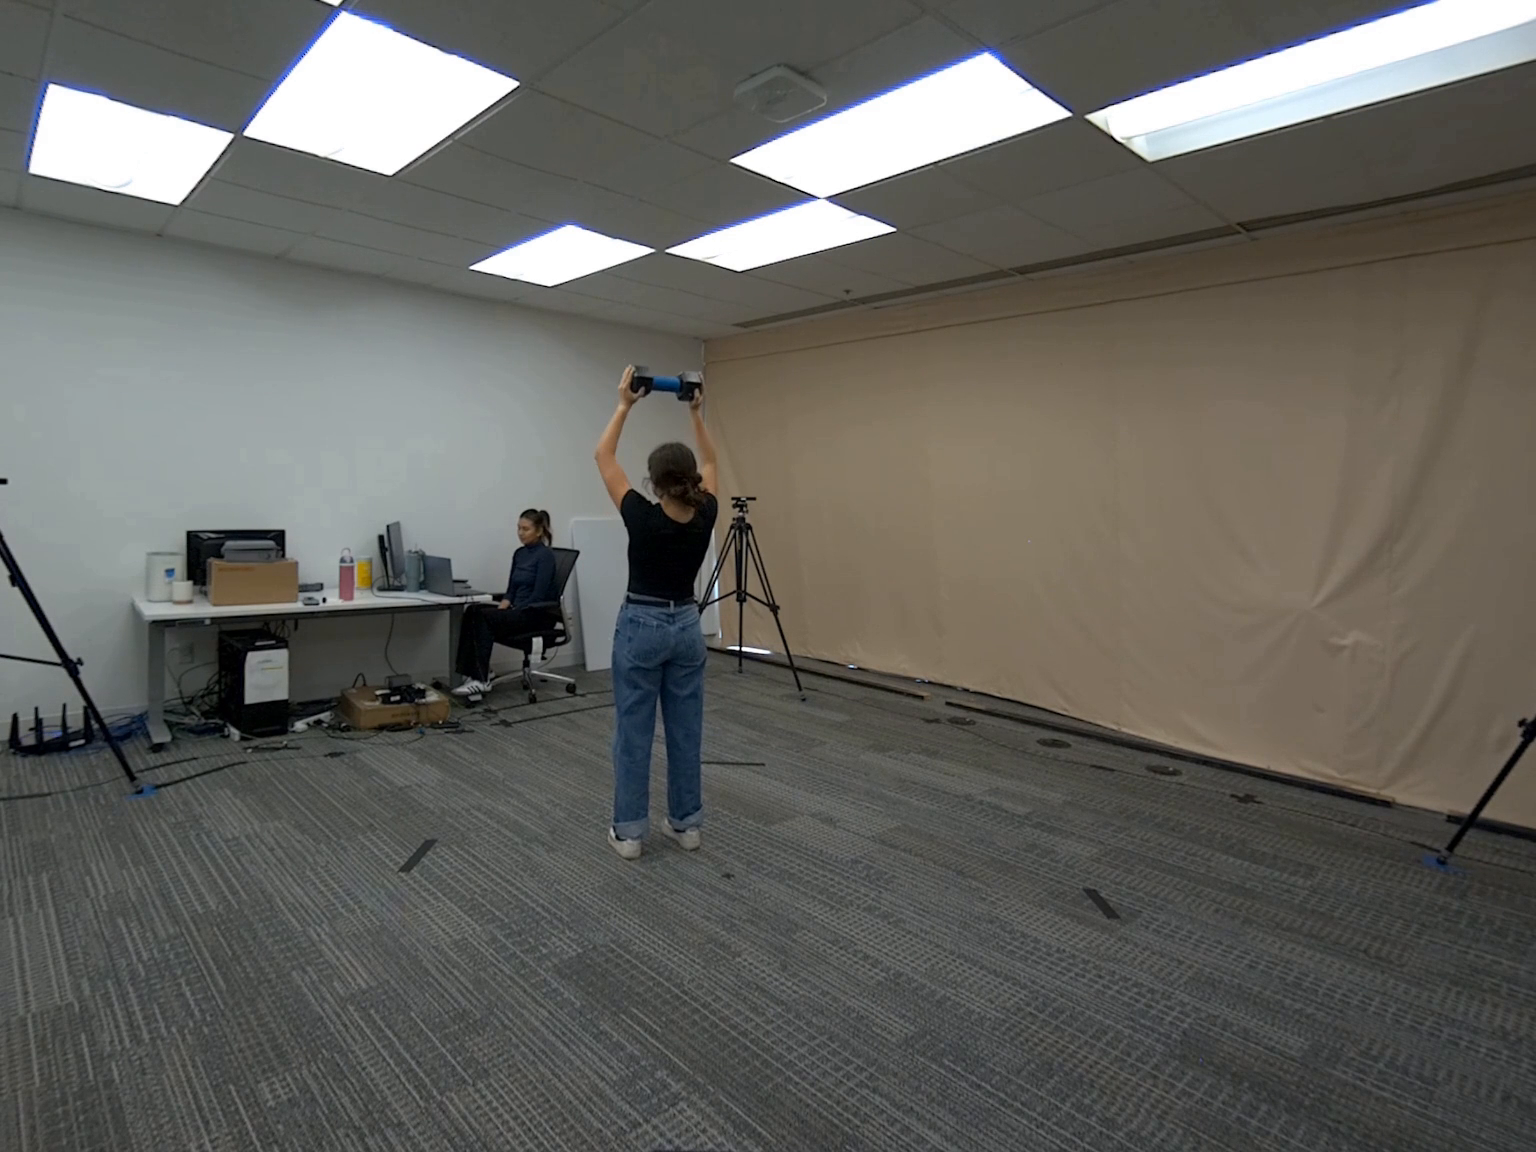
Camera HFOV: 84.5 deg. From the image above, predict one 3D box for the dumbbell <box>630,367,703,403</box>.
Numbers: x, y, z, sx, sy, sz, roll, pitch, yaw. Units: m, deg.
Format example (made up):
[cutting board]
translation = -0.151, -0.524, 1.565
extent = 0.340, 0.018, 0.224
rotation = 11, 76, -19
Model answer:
[dumbbell]
translation = -0.425, -0.762, 3.347
extent = 0.288, 0.126, 0.108
rotation = 1, -38, -29
